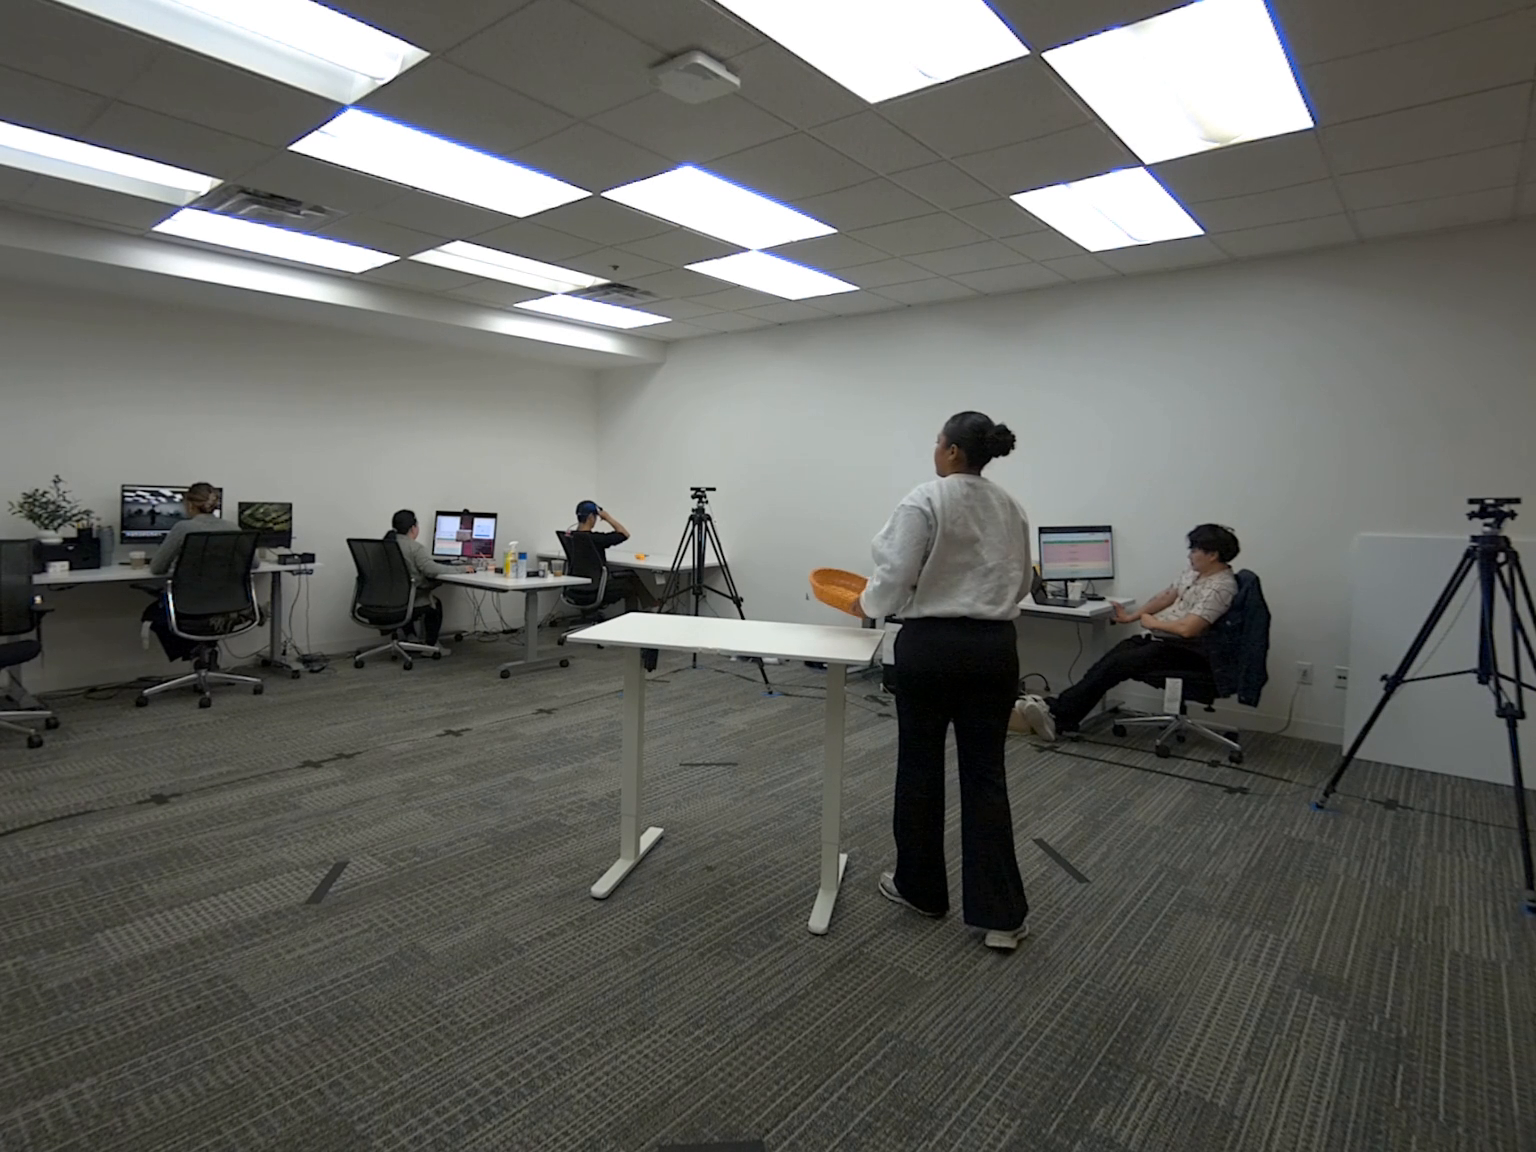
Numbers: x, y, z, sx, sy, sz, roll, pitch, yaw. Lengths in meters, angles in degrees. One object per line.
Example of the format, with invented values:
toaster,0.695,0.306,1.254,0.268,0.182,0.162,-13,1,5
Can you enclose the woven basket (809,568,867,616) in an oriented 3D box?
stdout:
woven basket,0.318,0.081,3.107,0.364,0.072,0.246,24,26,34
